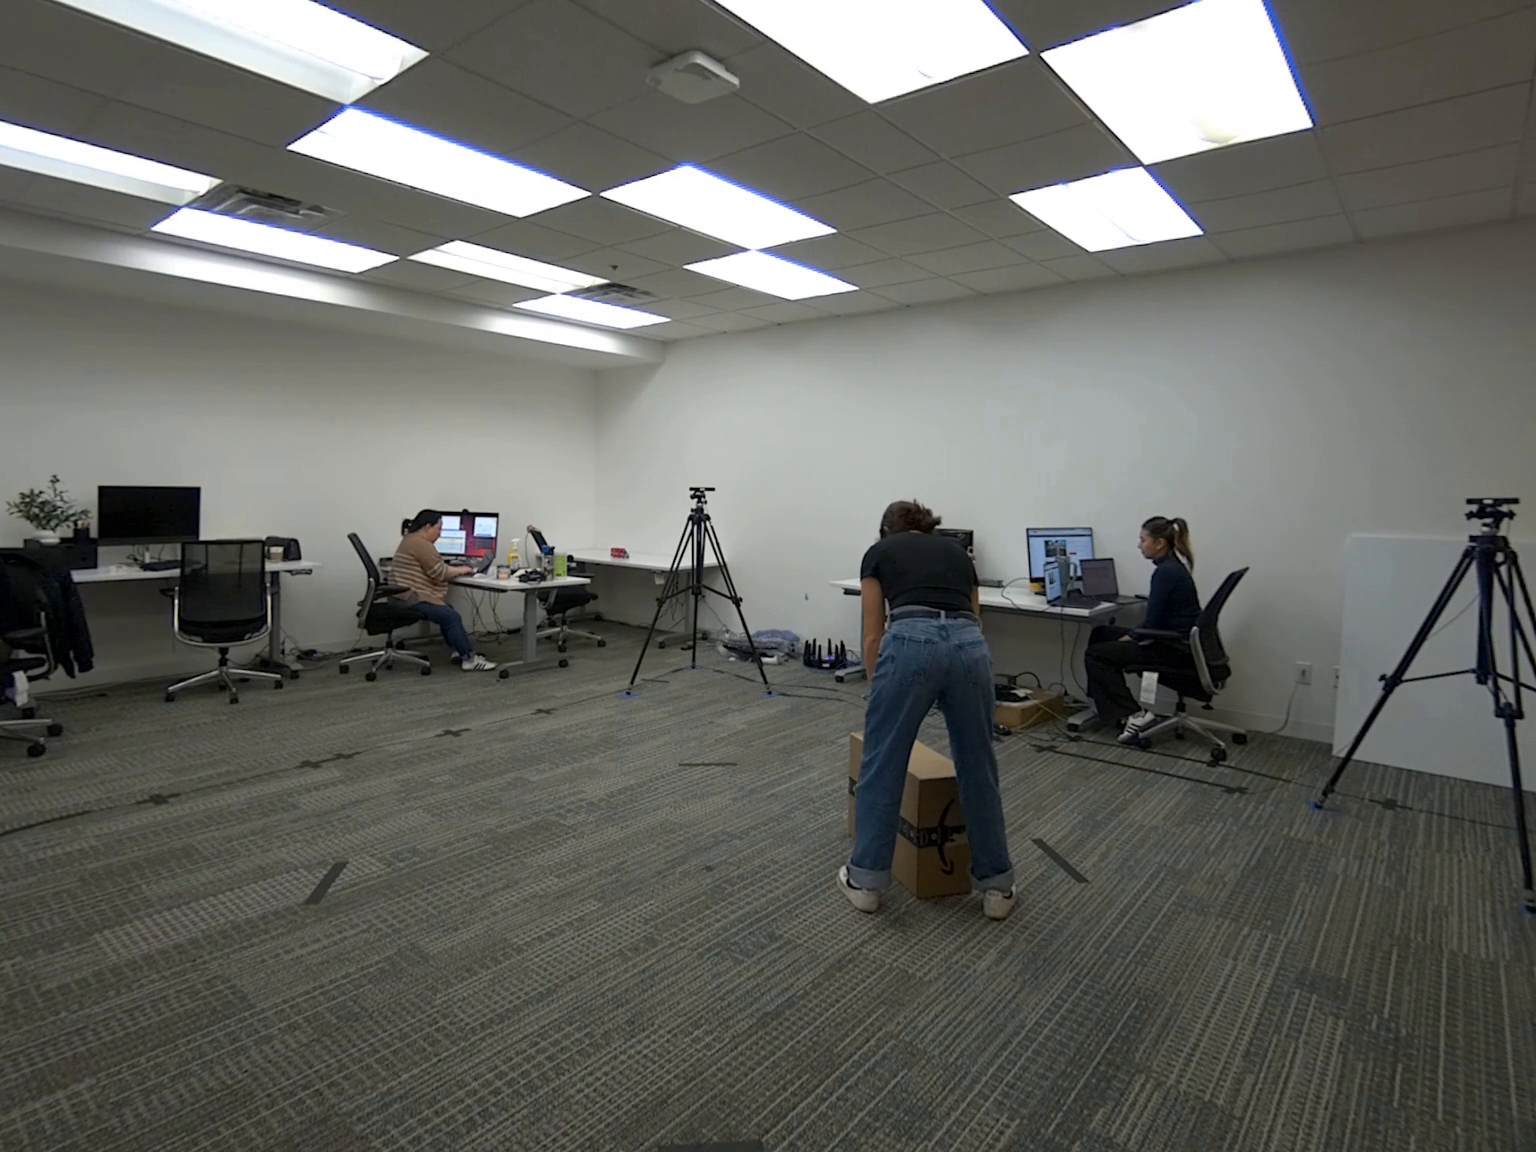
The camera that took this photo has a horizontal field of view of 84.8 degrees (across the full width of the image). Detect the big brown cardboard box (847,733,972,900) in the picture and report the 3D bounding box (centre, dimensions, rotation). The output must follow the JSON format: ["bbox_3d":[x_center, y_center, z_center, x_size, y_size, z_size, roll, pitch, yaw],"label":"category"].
[{"bbox_3d":[0.514,0.863,3.209,0.229,0.416,0.602,-1,6,-18],"label":"big brown cardboard box"}]
